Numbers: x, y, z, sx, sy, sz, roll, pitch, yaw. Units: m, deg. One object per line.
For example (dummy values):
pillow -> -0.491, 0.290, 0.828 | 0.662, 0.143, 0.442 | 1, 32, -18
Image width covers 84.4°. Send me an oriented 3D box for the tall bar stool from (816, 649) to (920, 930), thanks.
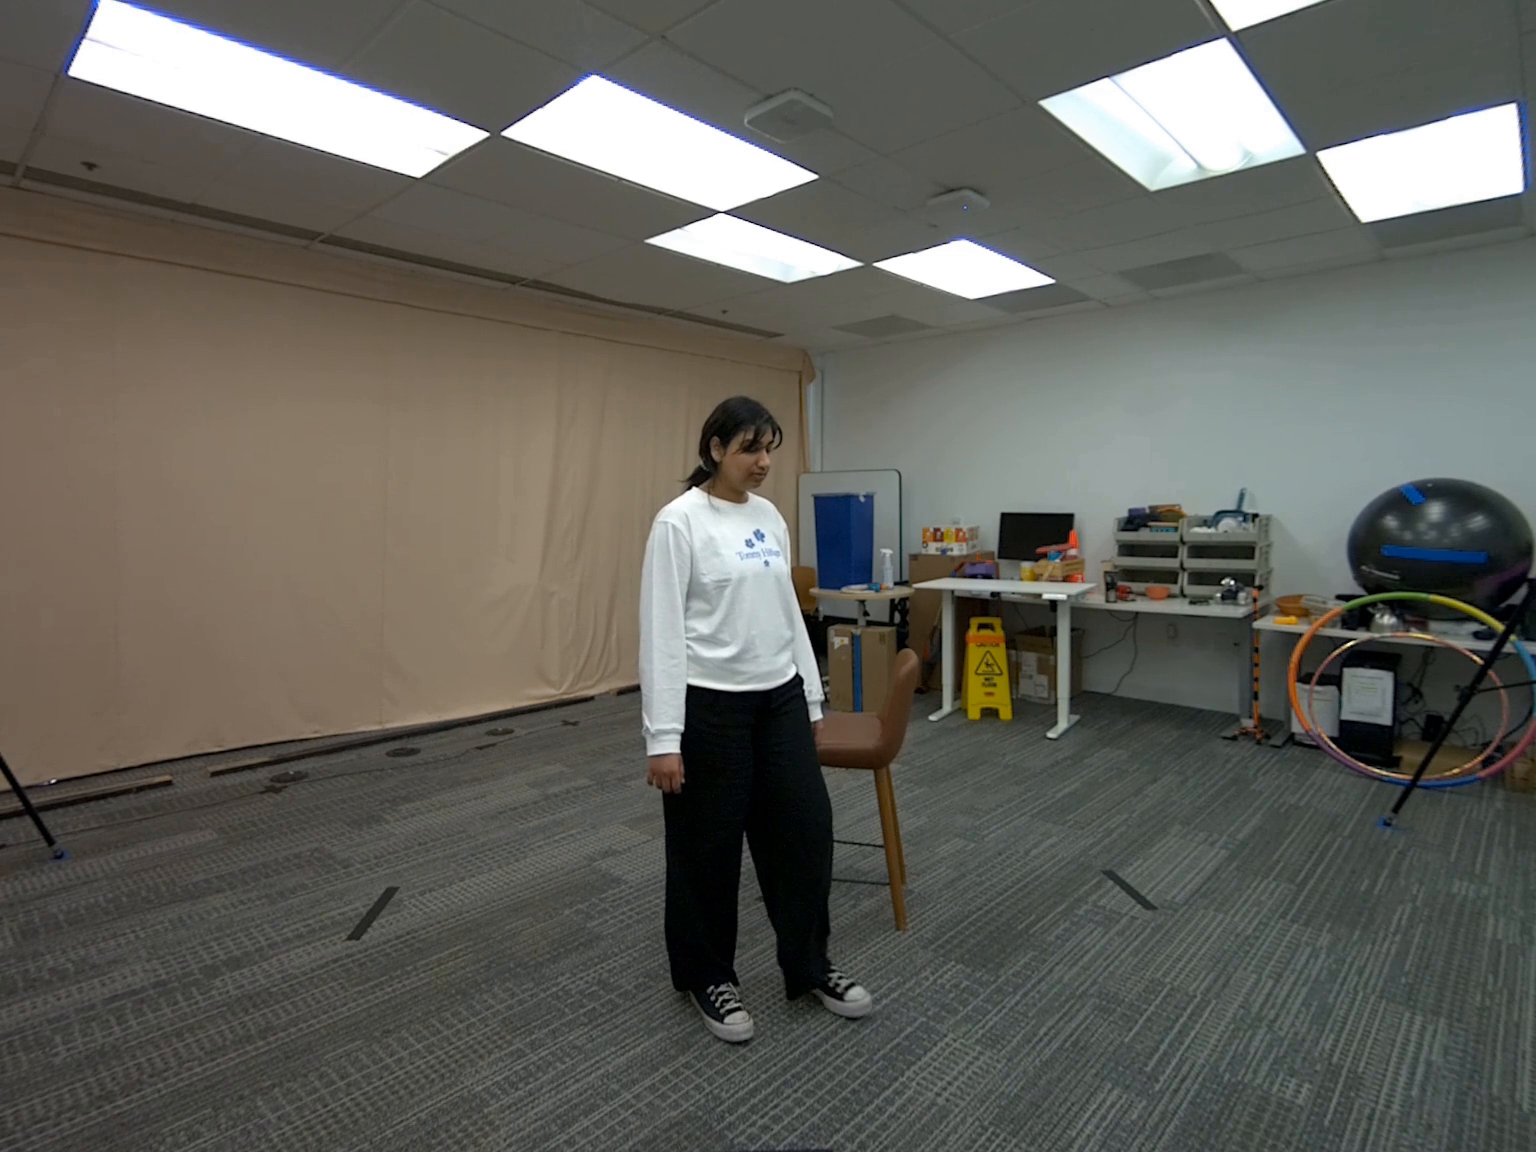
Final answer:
tall bar stool -> 0.272, 0.711, 2.960 | 0.474, 0.888, 0.451 | 2, 3, 12
